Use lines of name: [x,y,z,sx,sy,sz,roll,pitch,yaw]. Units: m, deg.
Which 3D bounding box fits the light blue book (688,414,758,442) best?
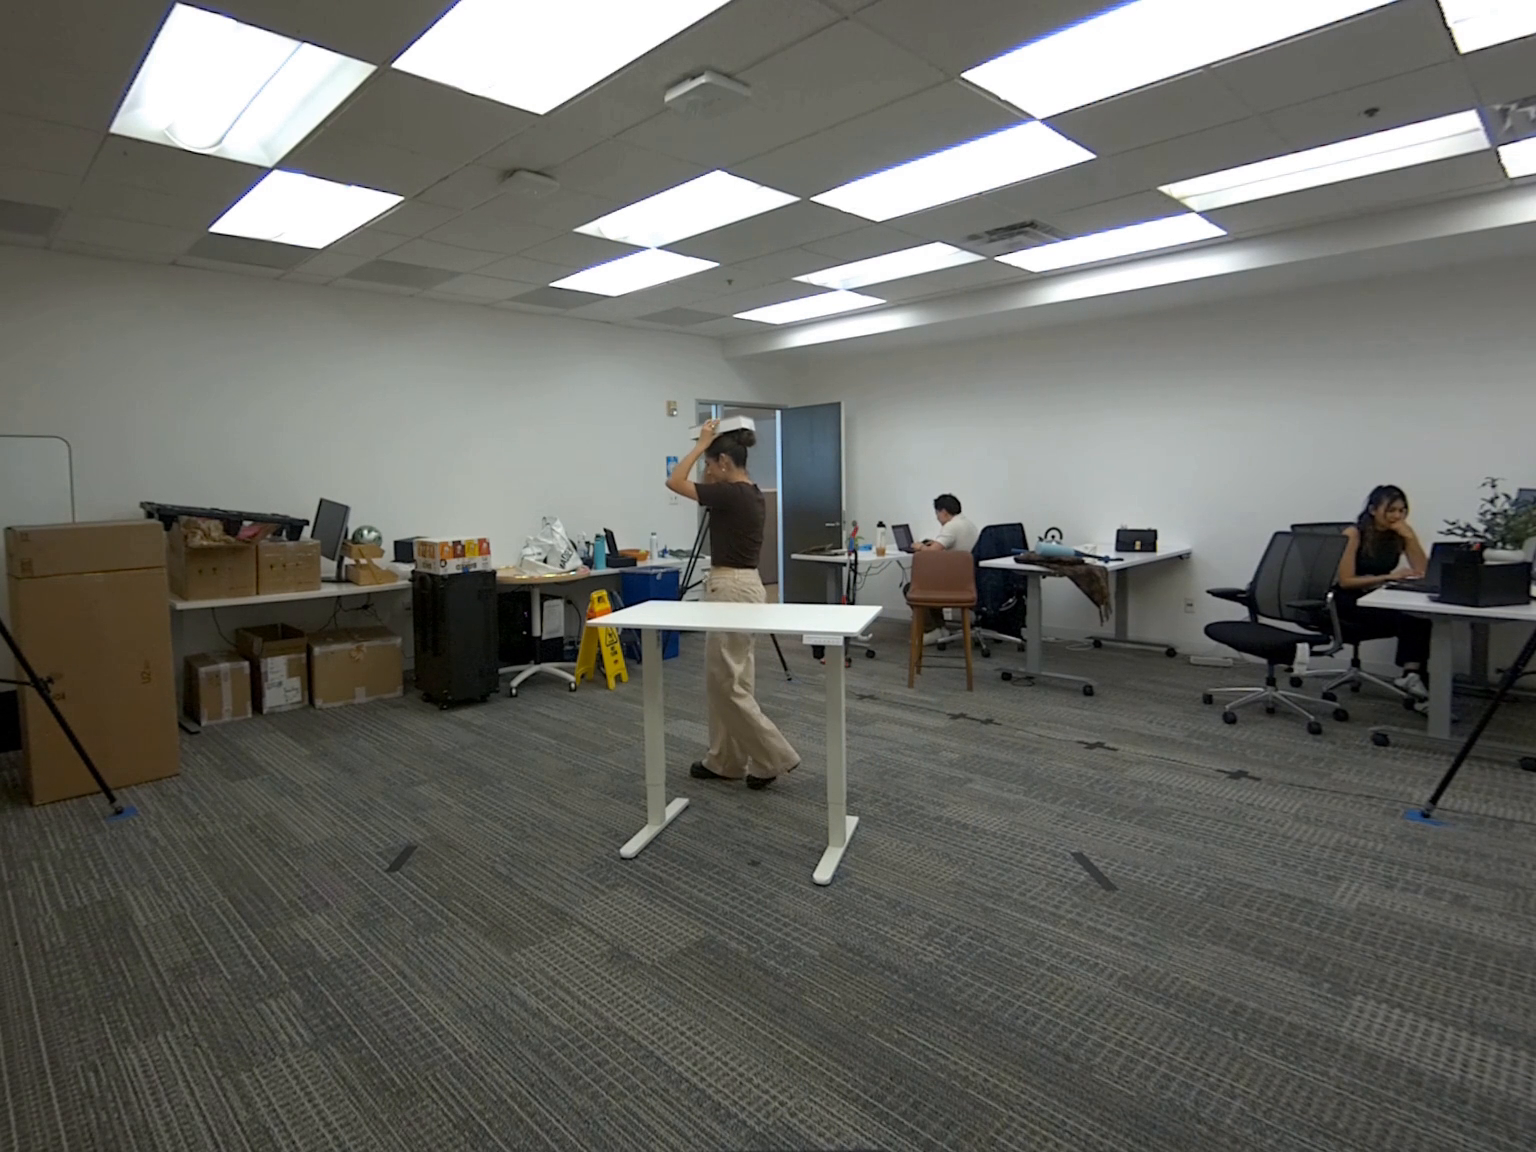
light blue book: [-0.208,-0.679,3.954,0.265,0.059,0.188,-9,2,19]
